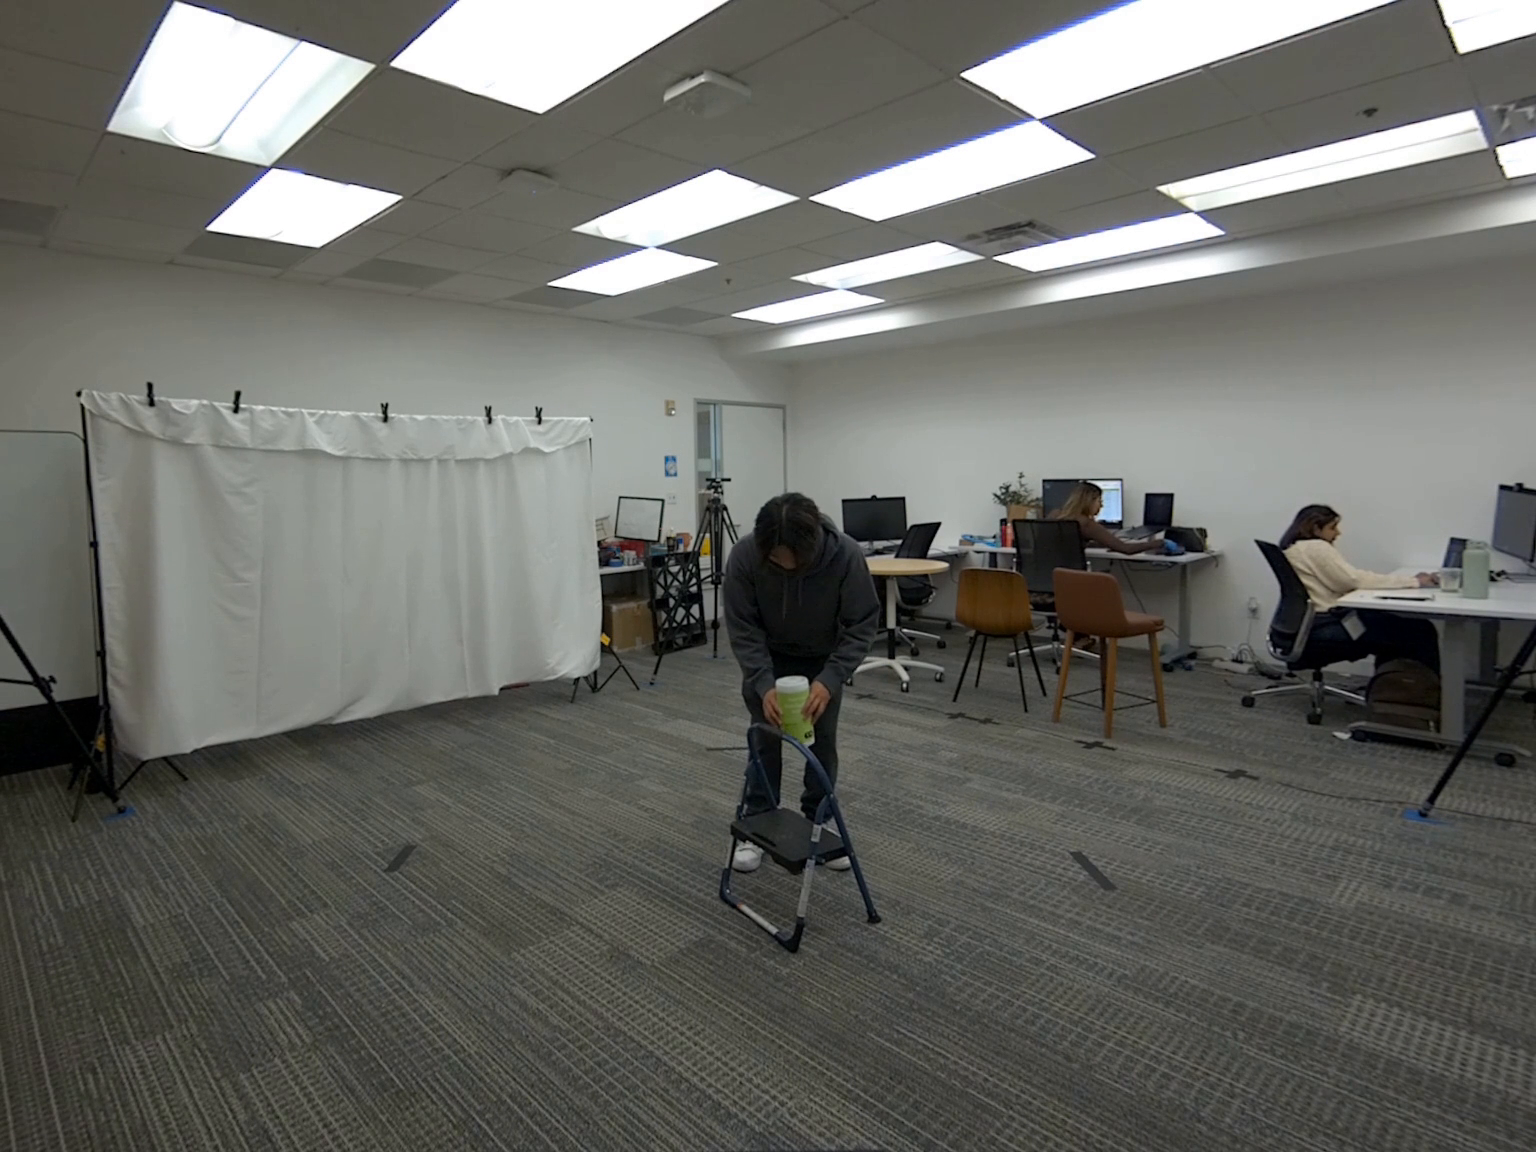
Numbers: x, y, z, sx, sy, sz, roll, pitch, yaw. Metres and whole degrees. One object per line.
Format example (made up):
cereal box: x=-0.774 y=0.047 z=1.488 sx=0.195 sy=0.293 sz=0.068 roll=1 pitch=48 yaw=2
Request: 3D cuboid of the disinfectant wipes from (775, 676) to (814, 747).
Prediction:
disinfectant wipes: x=0.087 y=0.450 z=2.811 sx=0.118 sy=0.216 sz=0.118 roll=-8 pitch=6 yaw=-1
